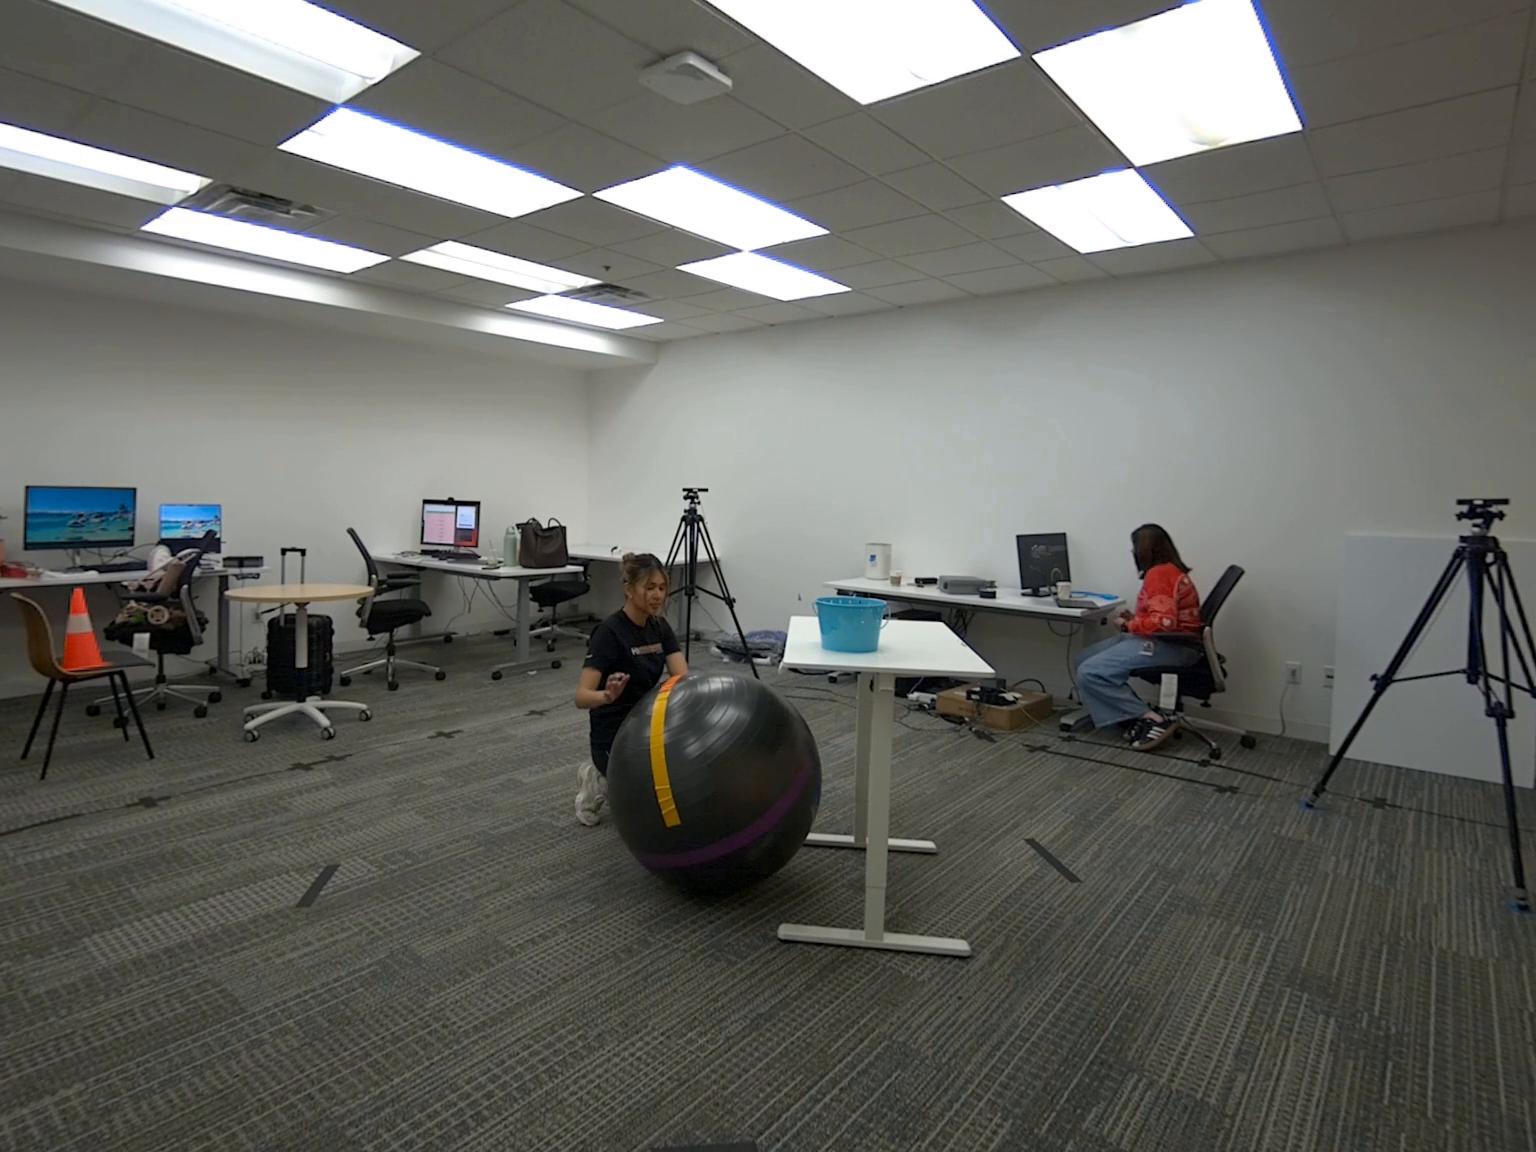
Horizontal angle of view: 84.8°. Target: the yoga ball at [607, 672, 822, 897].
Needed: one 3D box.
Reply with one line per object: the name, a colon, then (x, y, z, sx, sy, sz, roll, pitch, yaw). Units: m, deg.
yoga ball: (-0.190, 0.717, 3.001, 0.757, 0.756, 0.762, 1, 4, -2)
